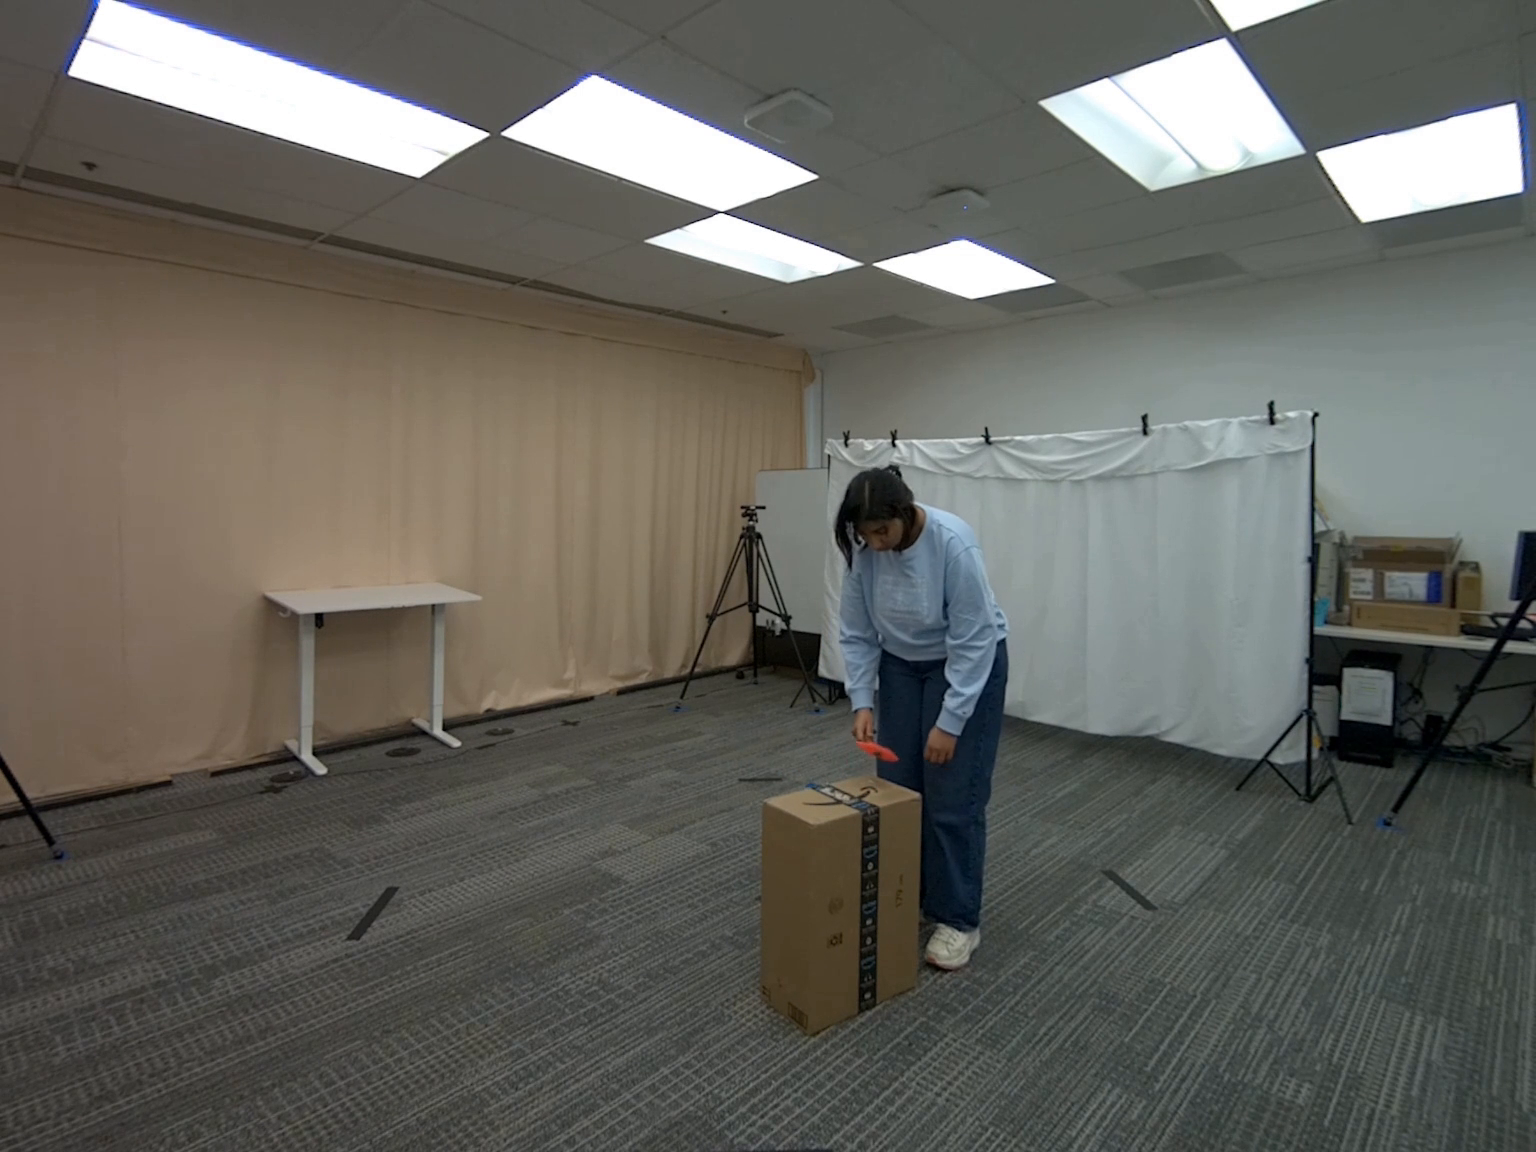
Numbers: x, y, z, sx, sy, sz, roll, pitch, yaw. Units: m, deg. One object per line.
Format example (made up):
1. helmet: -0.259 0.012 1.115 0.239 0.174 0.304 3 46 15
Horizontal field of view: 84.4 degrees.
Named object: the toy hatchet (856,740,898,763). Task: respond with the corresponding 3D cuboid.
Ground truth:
1. toy hatchet: 0.370 0.522 2.554 0.134 0.029 0.264 20 3 18
